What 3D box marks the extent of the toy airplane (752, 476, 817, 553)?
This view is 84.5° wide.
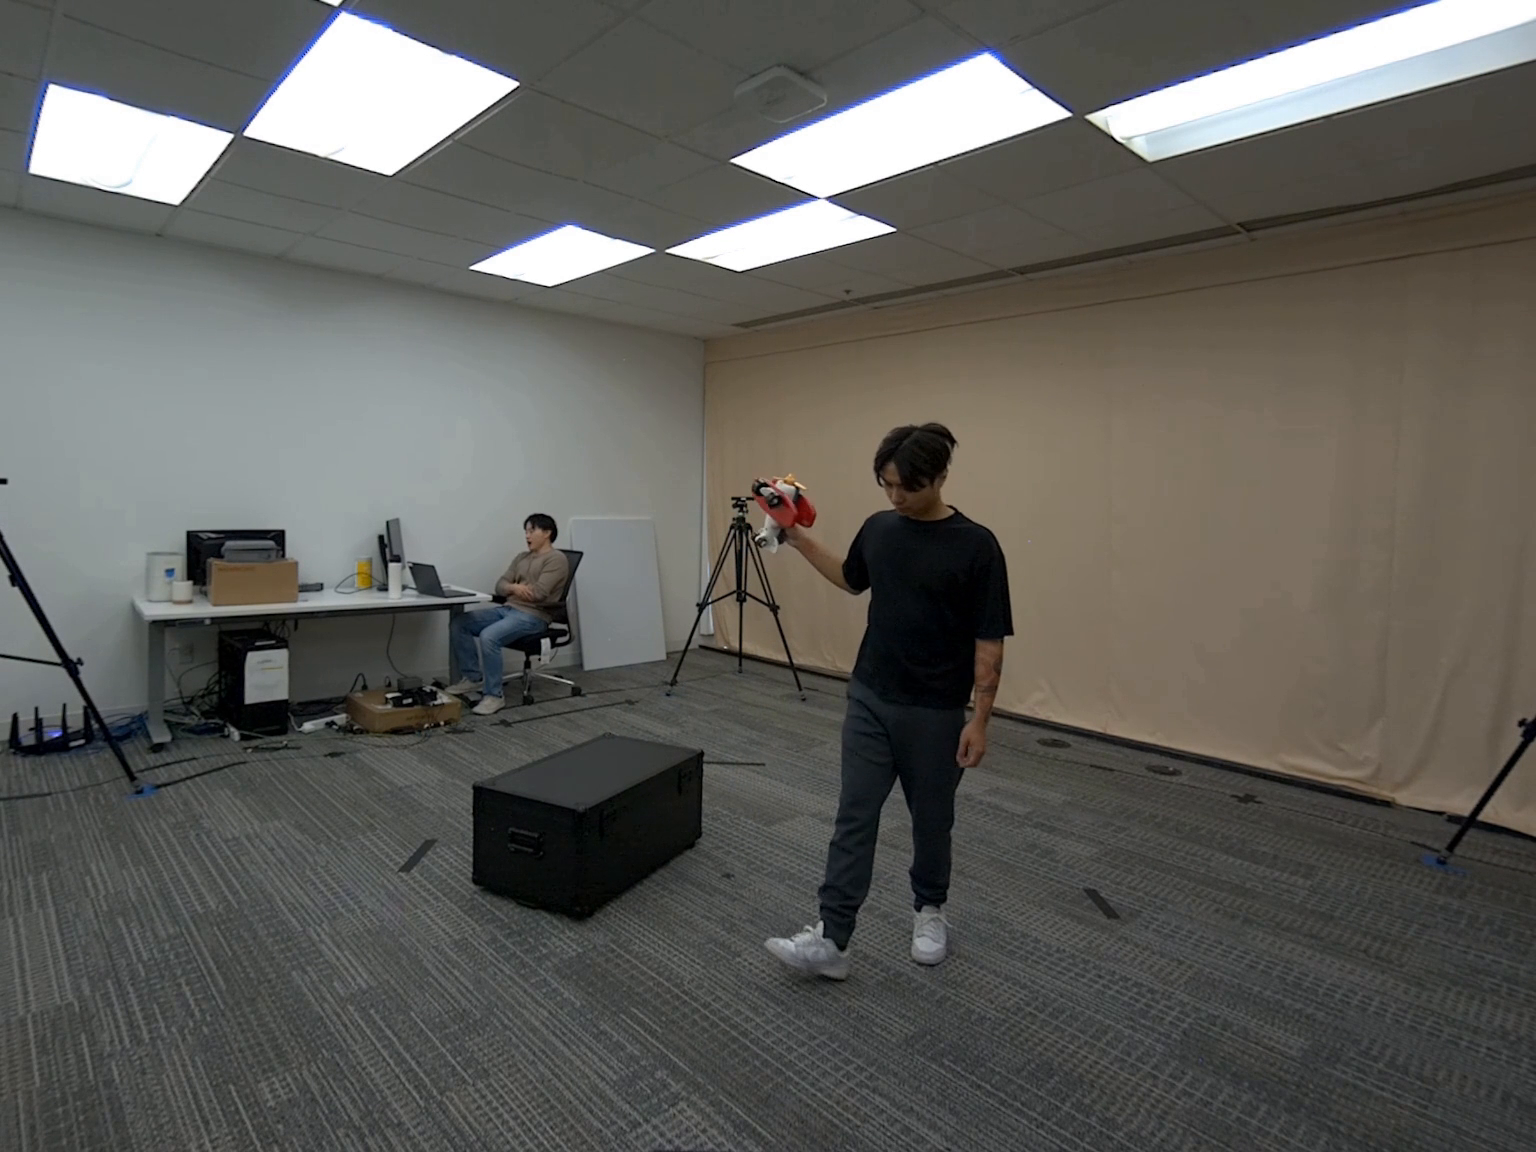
[{"bbox_3d":[0.006,-0.216,2.820,0.154,0.256,0.258,-13,-24,-28],"label":"toy airplane"}]
